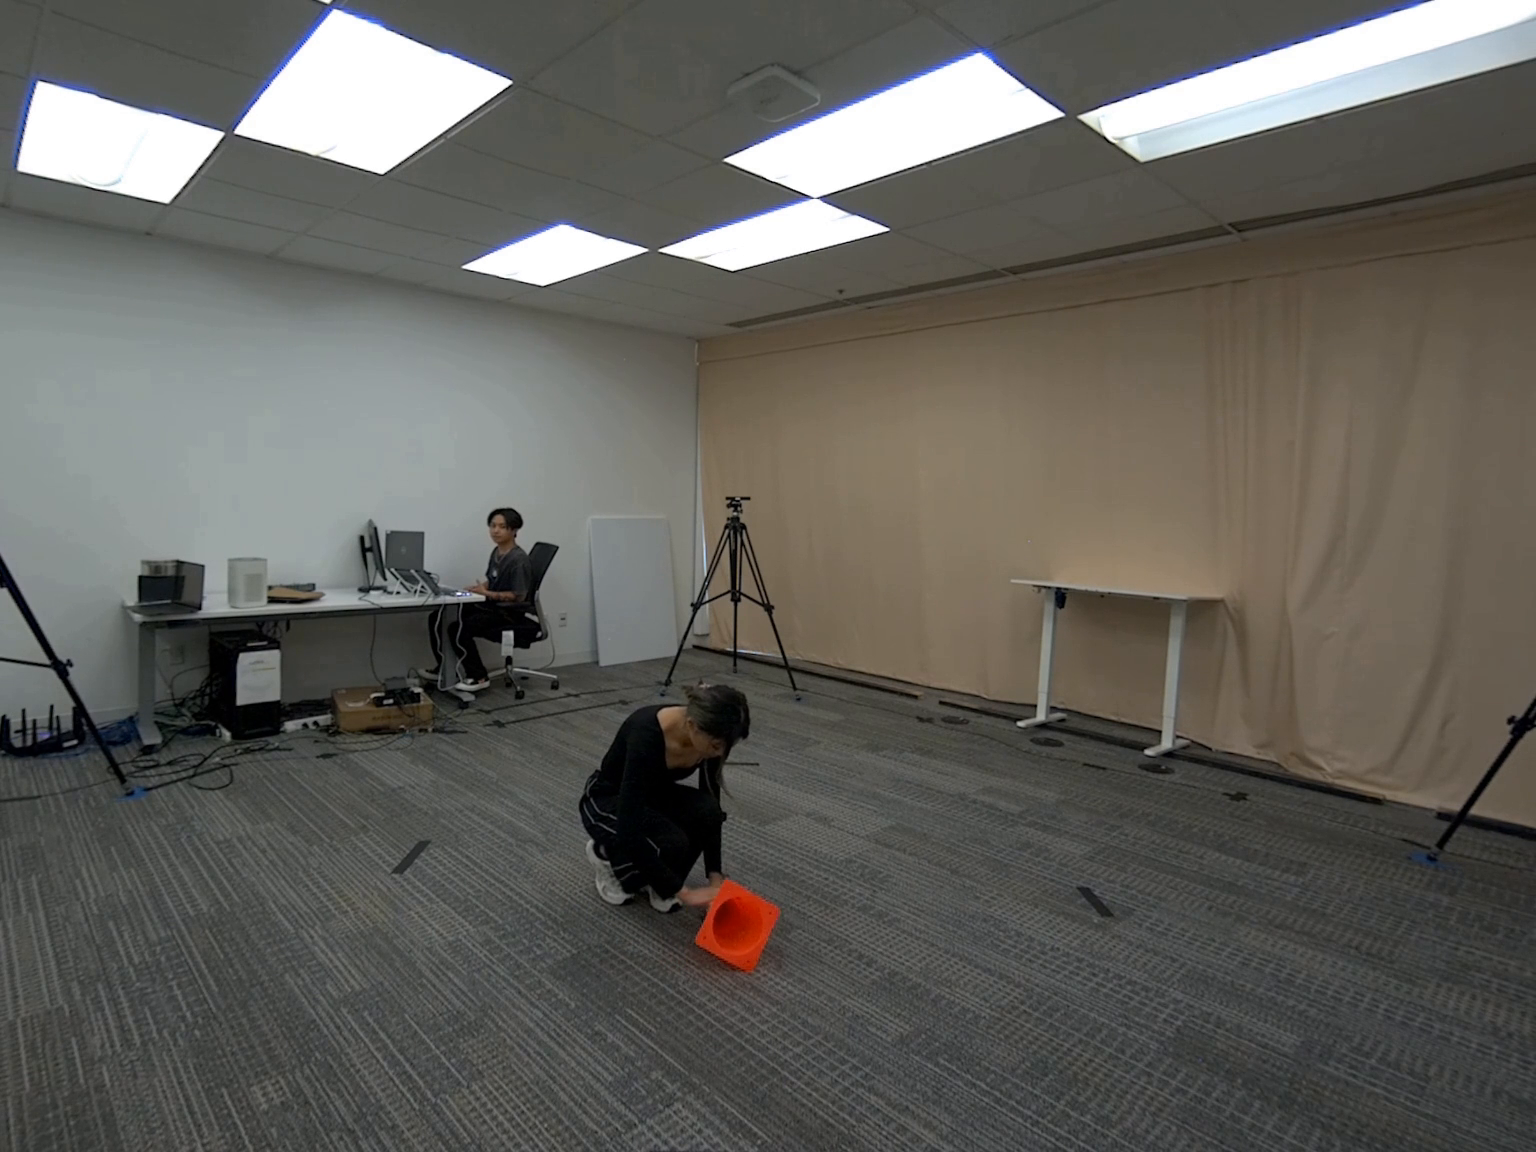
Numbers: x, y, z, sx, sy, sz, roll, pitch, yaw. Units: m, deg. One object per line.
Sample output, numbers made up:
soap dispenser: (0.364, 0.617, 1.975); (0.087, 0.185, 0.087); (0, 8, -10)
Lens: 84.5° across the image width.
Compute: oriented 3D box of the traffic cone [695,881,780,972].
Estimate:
traffic cone: (-0.143, 1.080, 2.672); (0.205, 0.204, 0.383); (33, -17, -2)
